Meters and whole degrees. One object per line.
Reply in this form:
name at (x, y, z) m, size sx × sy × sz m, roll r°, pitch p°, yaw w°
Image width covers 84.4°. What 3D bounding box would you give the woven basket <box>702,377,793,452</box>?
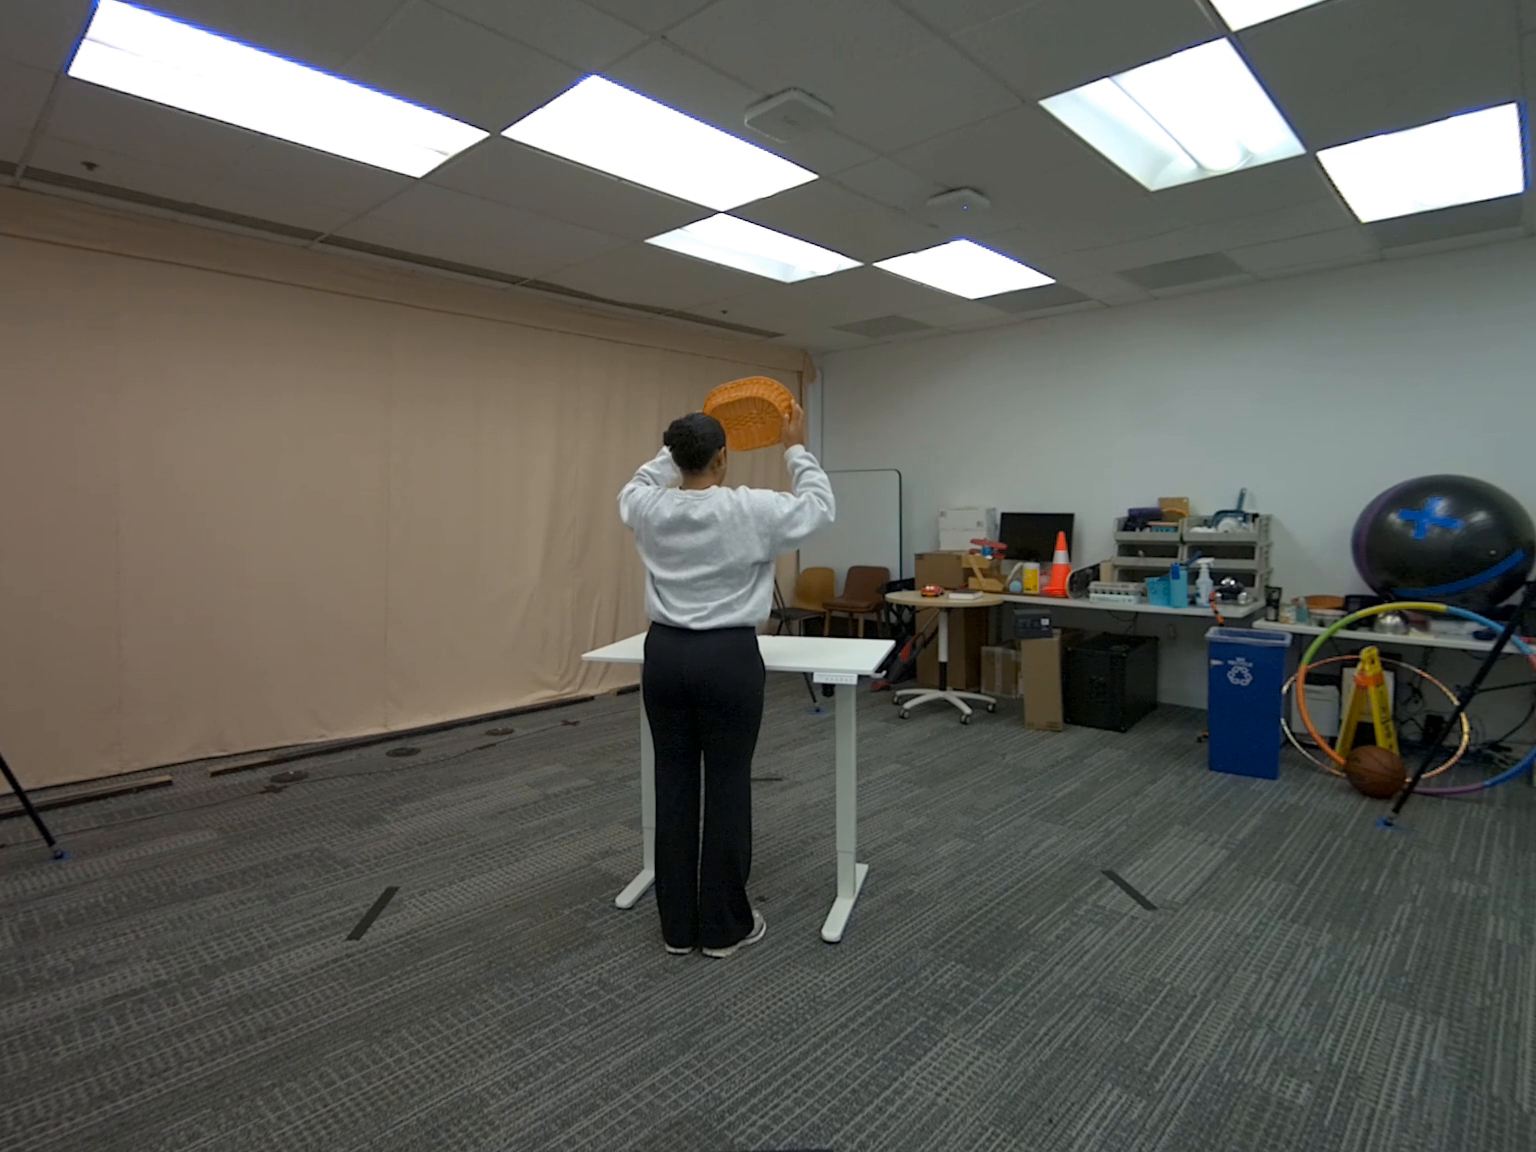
woven basket at (-0.071, -0.514, 2.817) m, size 0.358 × 0.247 × 0.073 m, roll -11°, pitch 27°, yaw 26°
